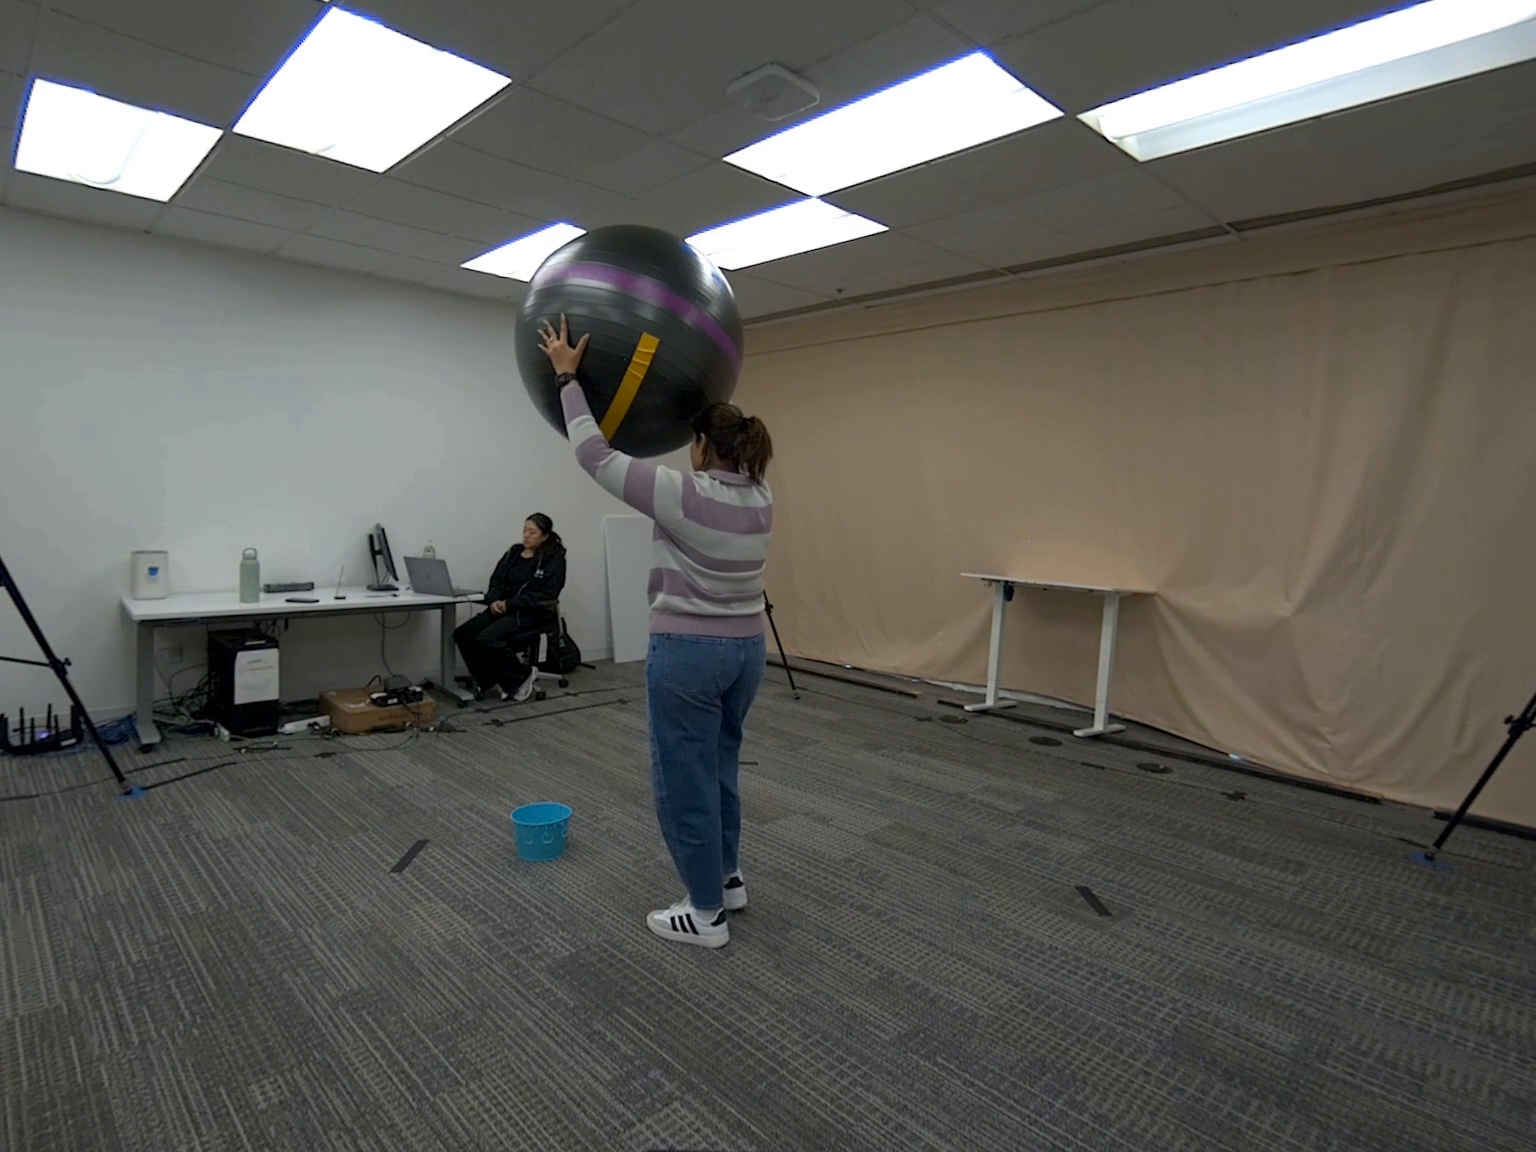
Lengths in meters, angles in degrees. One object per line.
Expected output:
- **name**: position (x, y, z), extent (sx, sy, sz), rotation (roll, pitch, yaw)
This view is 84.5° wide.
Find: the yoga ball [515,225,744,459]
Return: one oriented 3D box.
- **yoga ball**: position (-0.464, -0.759, 2.808), extent (0.757, 0.756, 0.761), rotation (1, 4, -1)
